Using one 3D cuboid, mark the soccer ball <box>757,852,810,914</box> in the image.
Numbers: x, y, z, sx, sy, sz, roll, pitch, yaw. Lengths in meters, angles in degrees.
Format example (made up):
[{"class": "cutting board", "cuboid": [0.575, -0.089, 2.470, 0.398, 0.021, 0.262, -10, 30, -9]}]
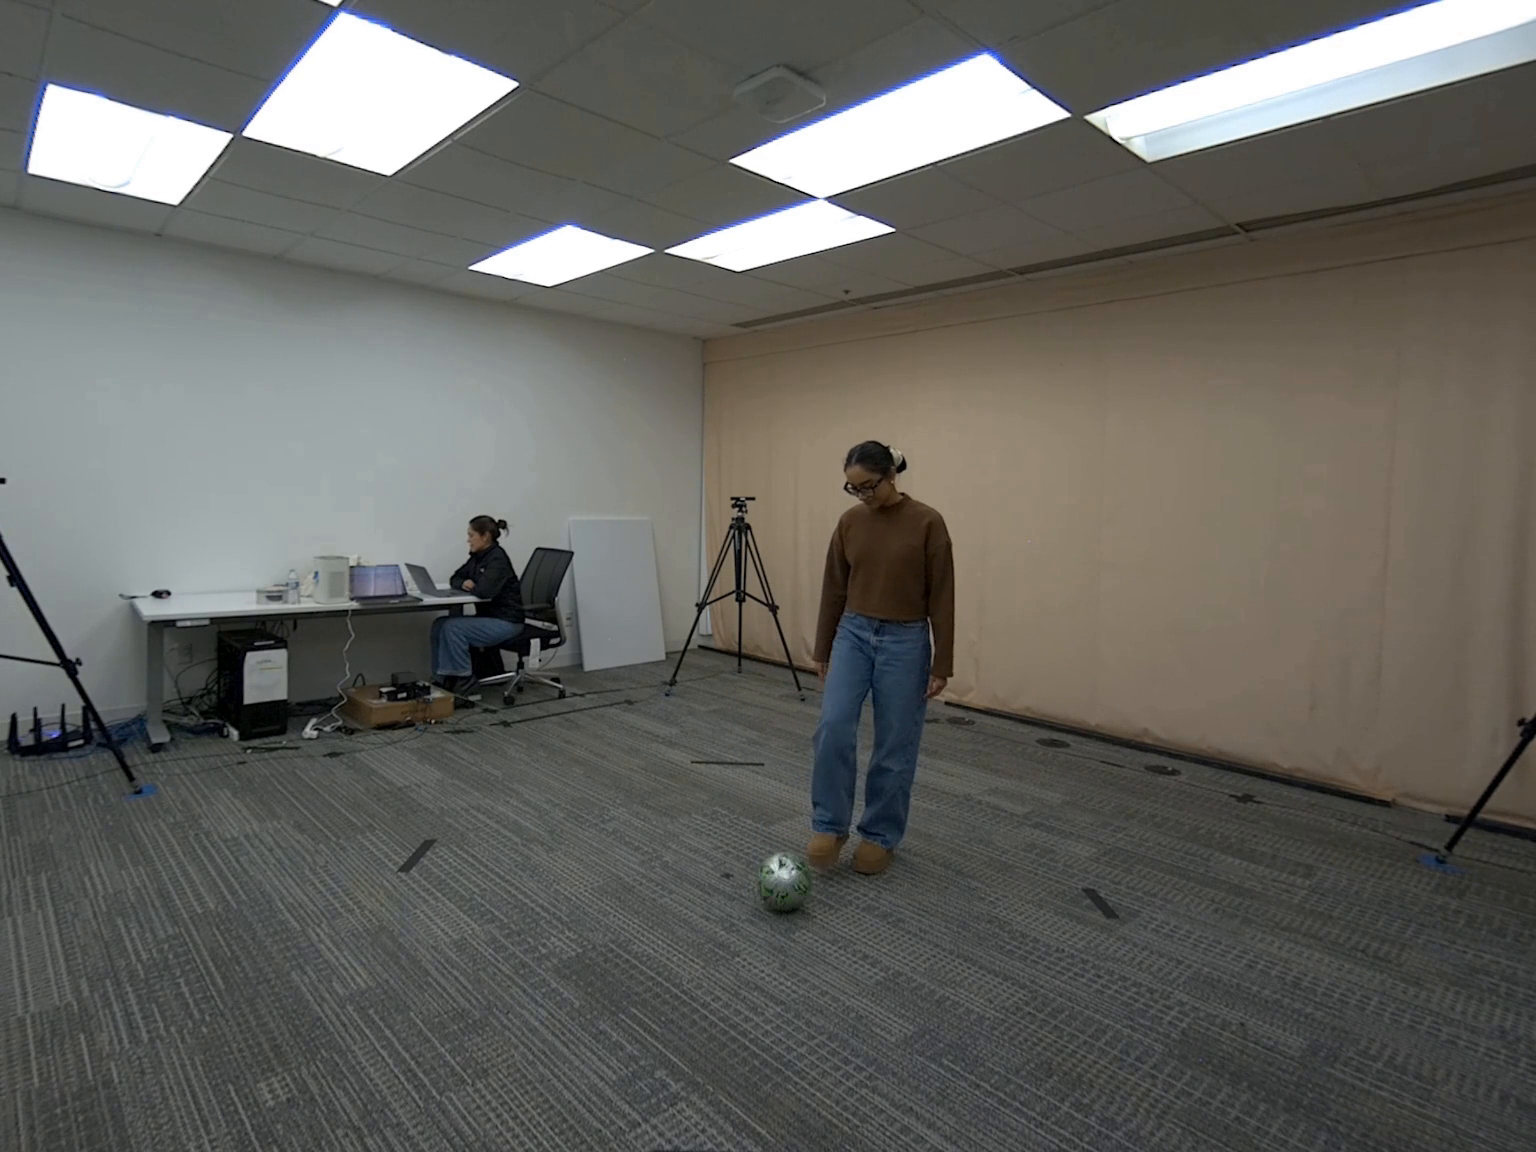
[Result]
[{"class": "soccer ball", "cuboid": [0.046, 1.039, 2.856, 0.187, 0.187, 0.188, 1, 4, -1]}]
